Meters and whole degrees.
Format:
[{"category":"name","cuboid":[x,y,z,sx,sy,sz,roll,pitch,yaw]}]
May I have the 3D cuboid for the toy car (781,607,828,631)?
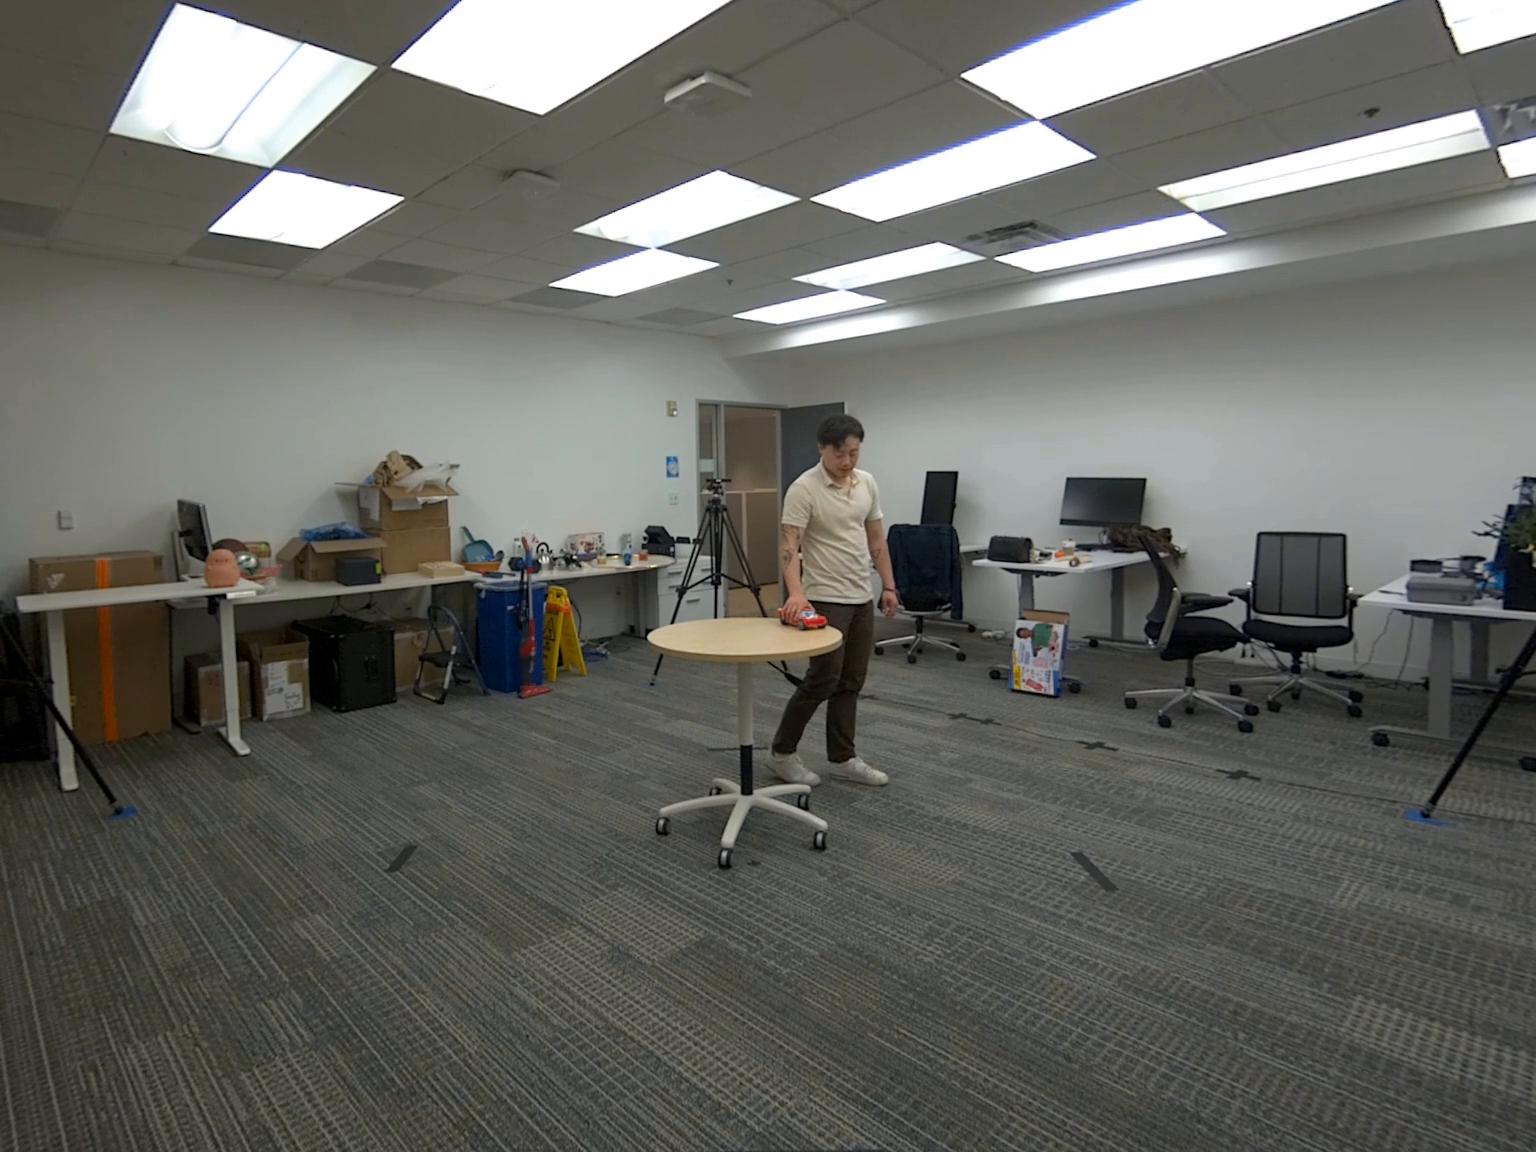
[{"category":"toy car","cuboid":[0.134,0.175,3.552,0.127,0.082,0.263,-3,17,-27]}]
